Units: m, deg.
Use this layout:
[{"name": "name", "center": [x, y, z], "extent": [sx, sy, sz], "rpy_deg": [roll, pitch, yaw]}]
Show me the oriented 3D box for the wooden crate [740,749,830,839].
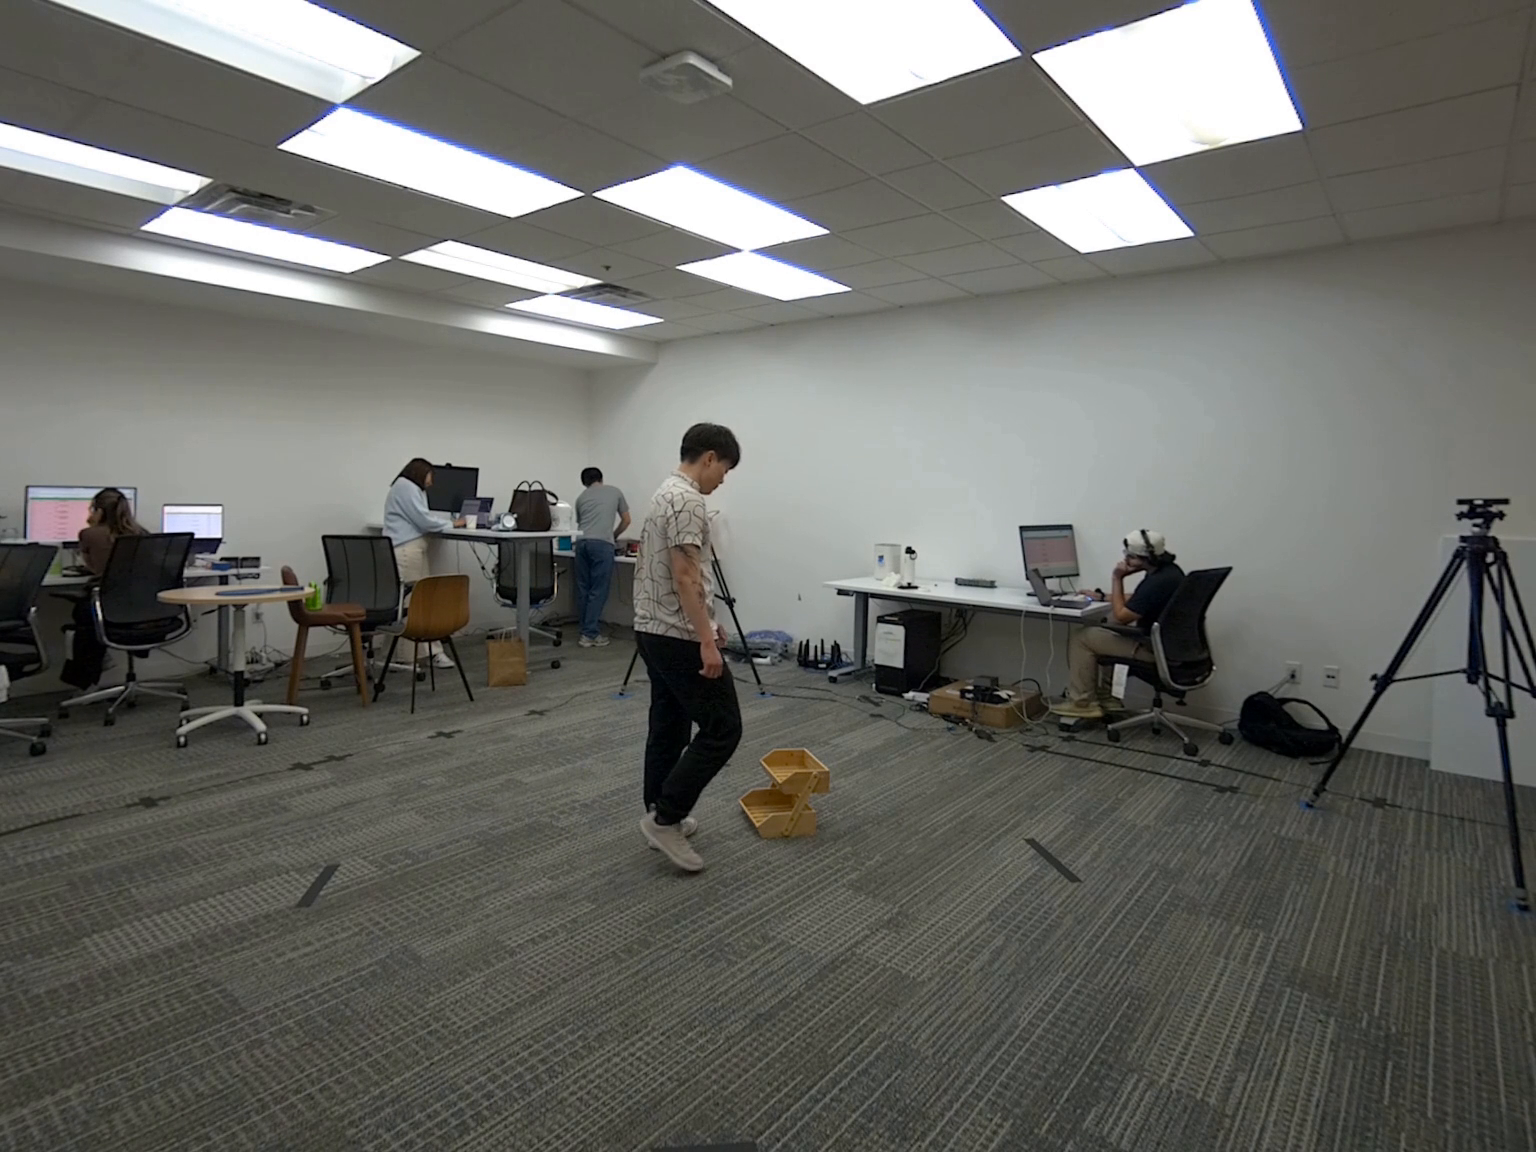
[{"name": "wooden crate", "center": [0.047, 0.892, 3.568], "extent": [0.297, 0.272, 0.331], "rpy_deg": [0, 5, -15]}]
